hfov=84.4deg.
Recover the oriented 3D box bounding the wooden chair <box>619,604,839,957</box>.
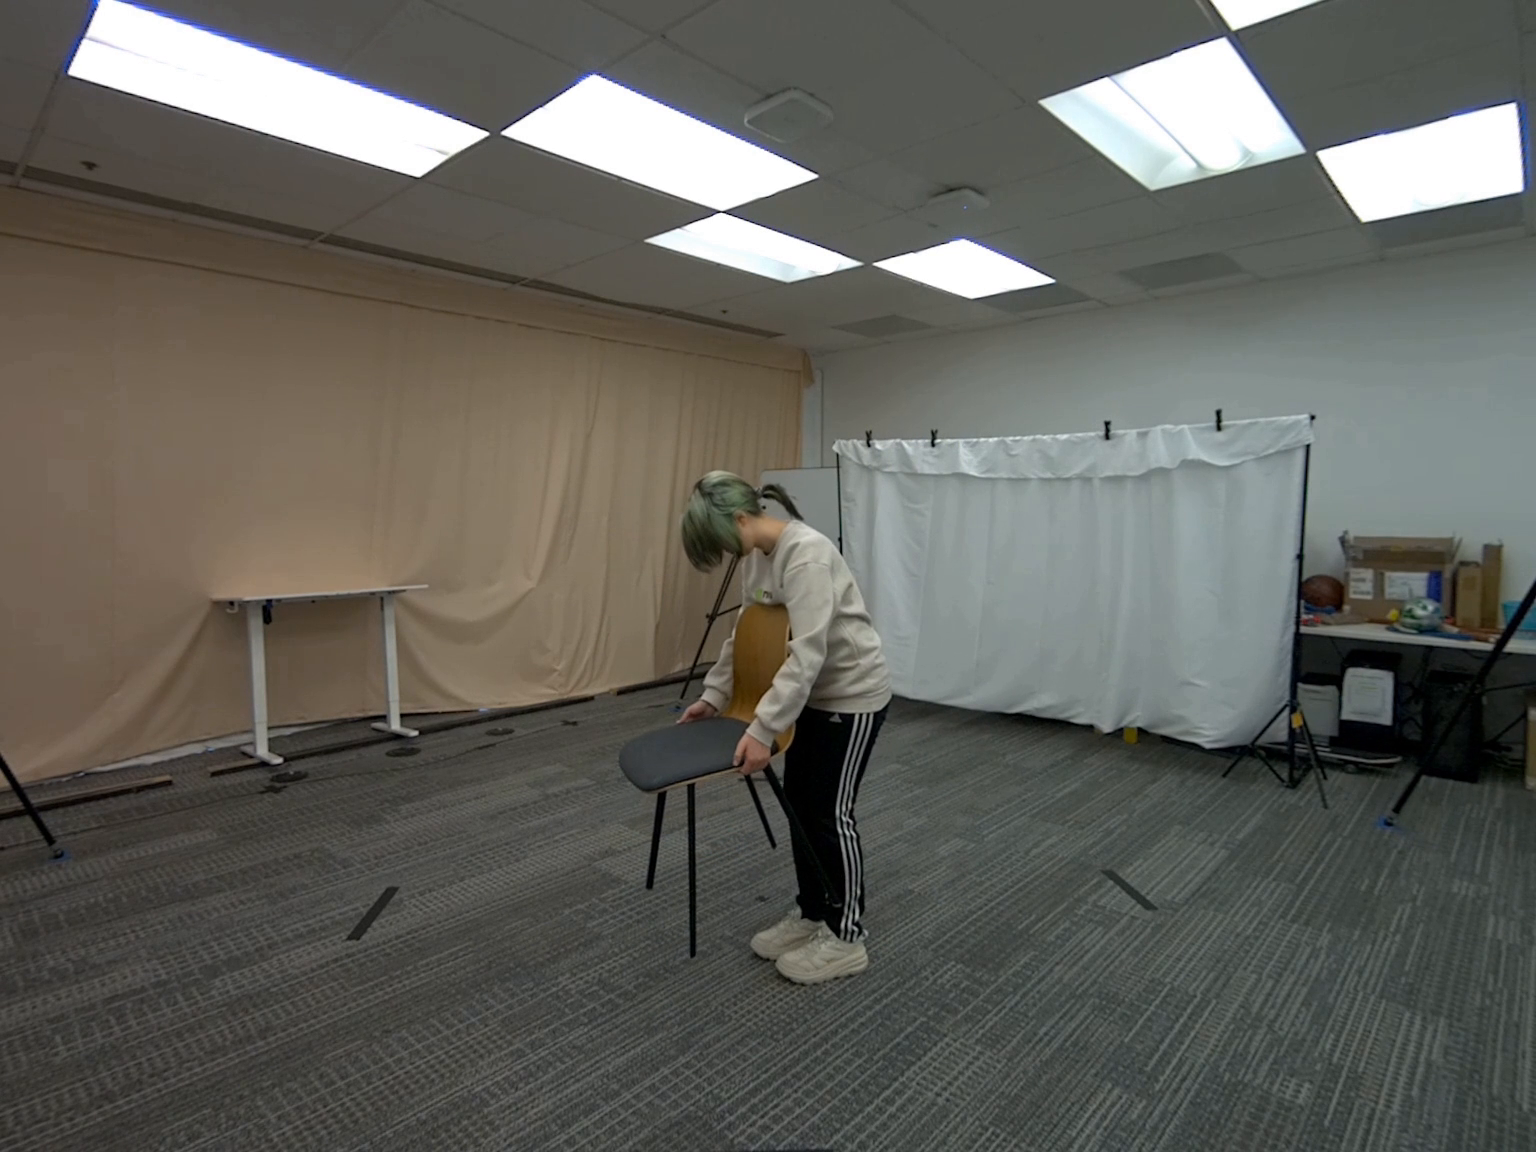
[{"bbox_3d":[-0.162,0.559,2.471,0.512,0.875,0.489,-5,4,-22],"label":"wooden chair"}]
